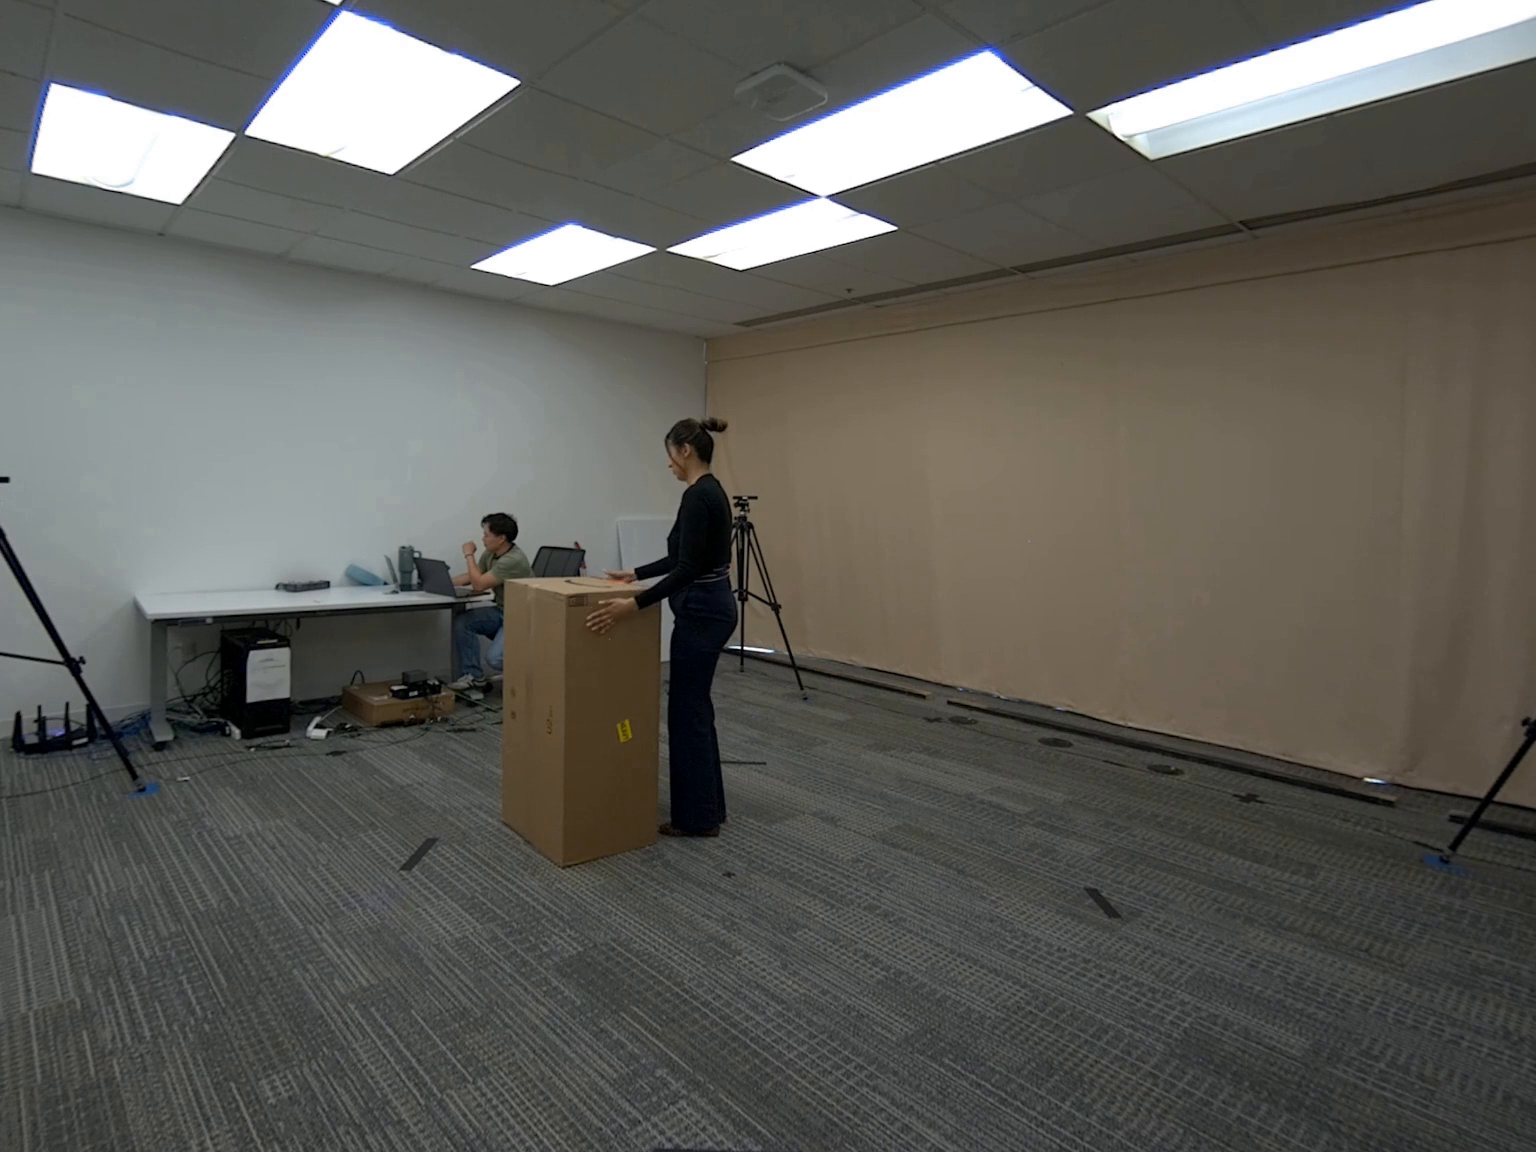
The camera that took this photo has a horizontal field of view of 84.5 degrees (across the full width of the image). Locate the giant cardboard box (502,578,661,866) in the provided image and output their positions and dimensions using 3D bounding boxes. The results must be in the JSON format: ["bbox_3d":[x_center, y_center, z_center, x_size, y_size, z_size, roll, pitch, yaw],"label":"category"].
[{"bbox_3d":[-0.782,0.550,3.444,0.416,1.023,0.592,-1,5,-39],"label":"giant cardboard box"}]
